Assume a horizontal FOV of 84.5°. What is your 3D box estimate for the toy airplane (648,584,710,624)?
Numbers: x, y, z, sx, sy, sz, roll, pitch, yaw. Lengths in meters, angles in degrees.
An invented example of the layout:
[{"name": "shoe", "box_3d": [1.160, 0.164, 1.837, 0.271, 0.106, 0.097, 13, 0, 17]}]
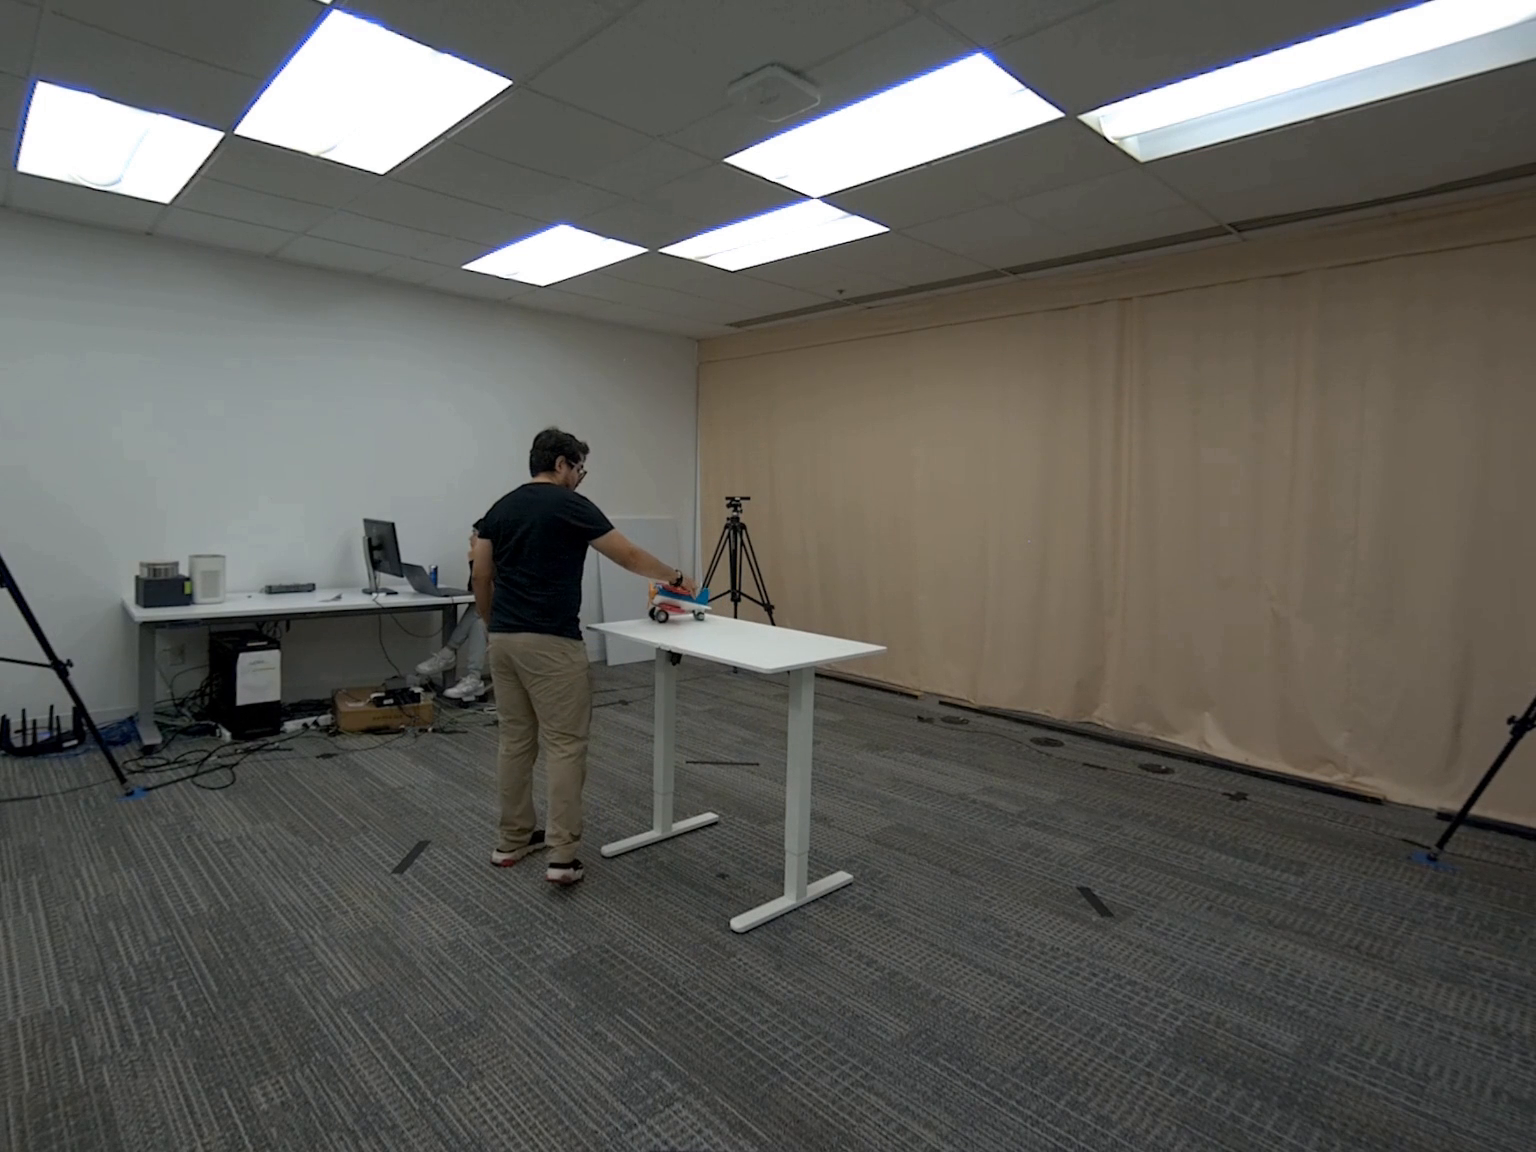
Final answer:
[{"name": "toy airplane", "box_3d": [-0.385, 0.107, 3.457, 0.257, 0.156, 0.254, 7, 8, 37]}]
